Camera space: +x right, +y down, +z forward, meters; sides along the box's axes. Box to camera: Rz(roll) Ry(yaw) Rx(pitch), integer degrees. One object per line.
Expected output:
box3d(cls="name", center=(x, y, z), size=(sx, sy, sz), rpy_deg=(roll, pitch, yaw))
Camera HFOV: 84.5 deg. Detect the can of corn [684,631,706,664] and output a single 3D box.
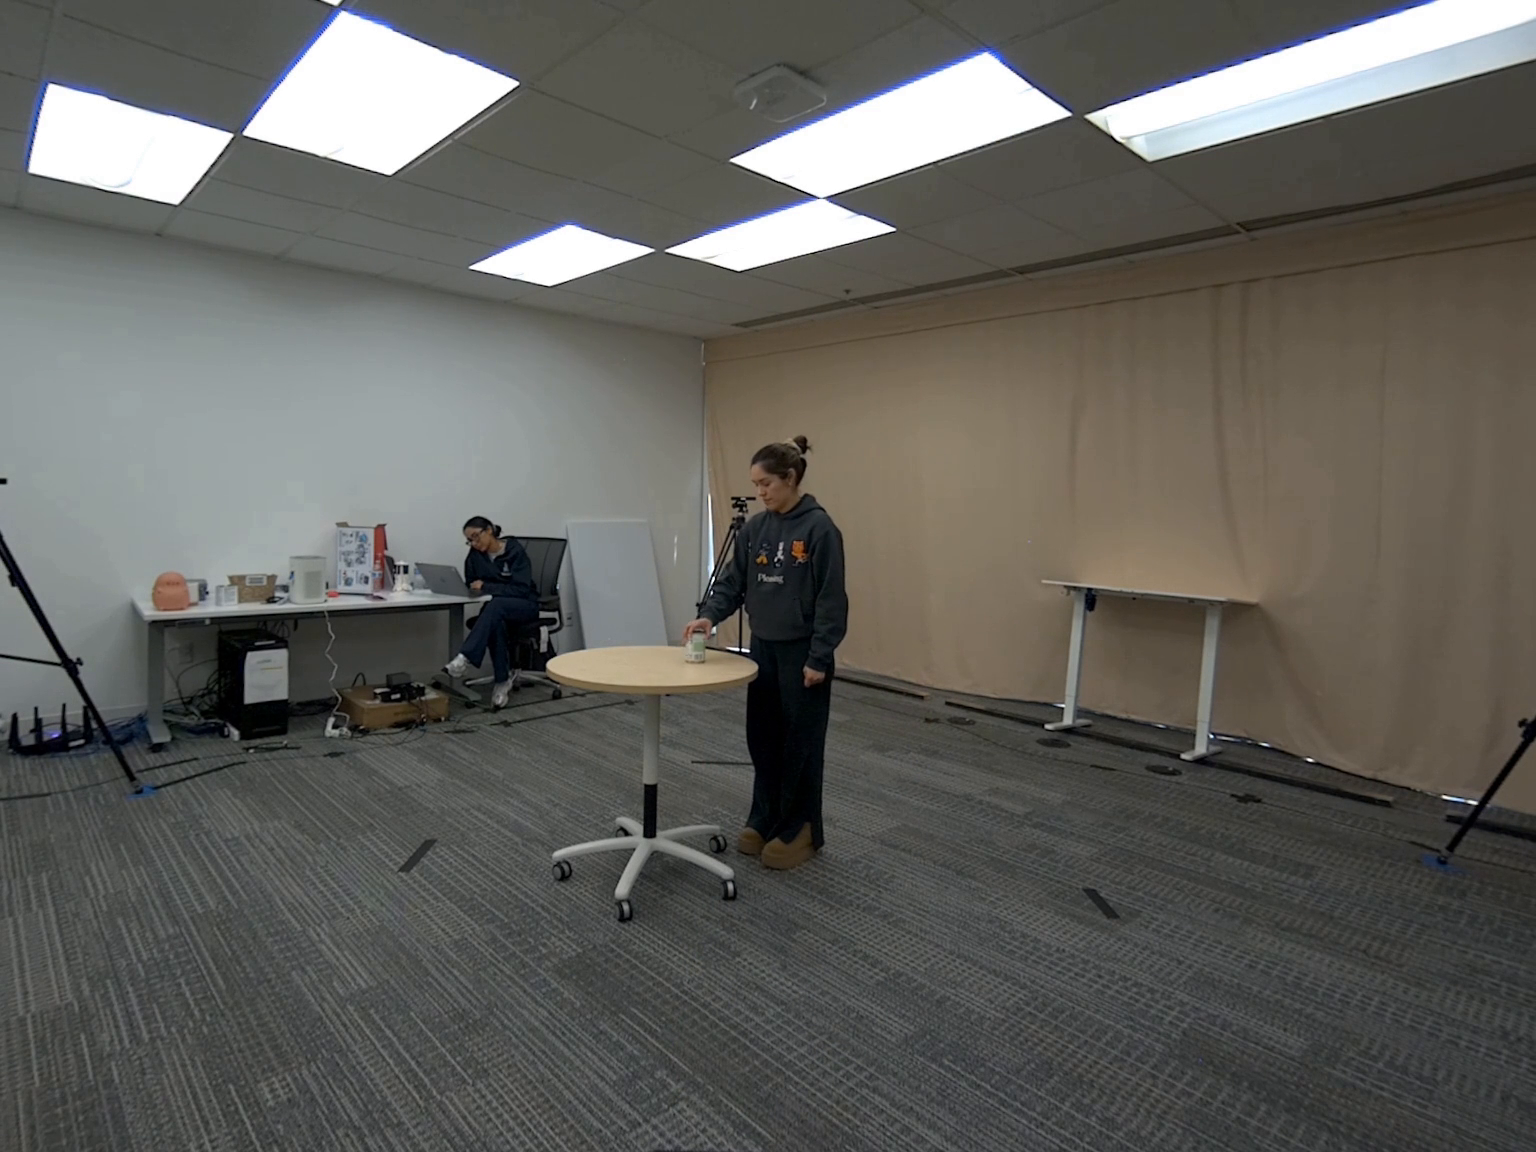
box3d(cls="can of corn", center=(-0.284, 0.263, 3.117), size=(0.074, 0.111, 0.074), rpy_deg=(1, 3, -1))
